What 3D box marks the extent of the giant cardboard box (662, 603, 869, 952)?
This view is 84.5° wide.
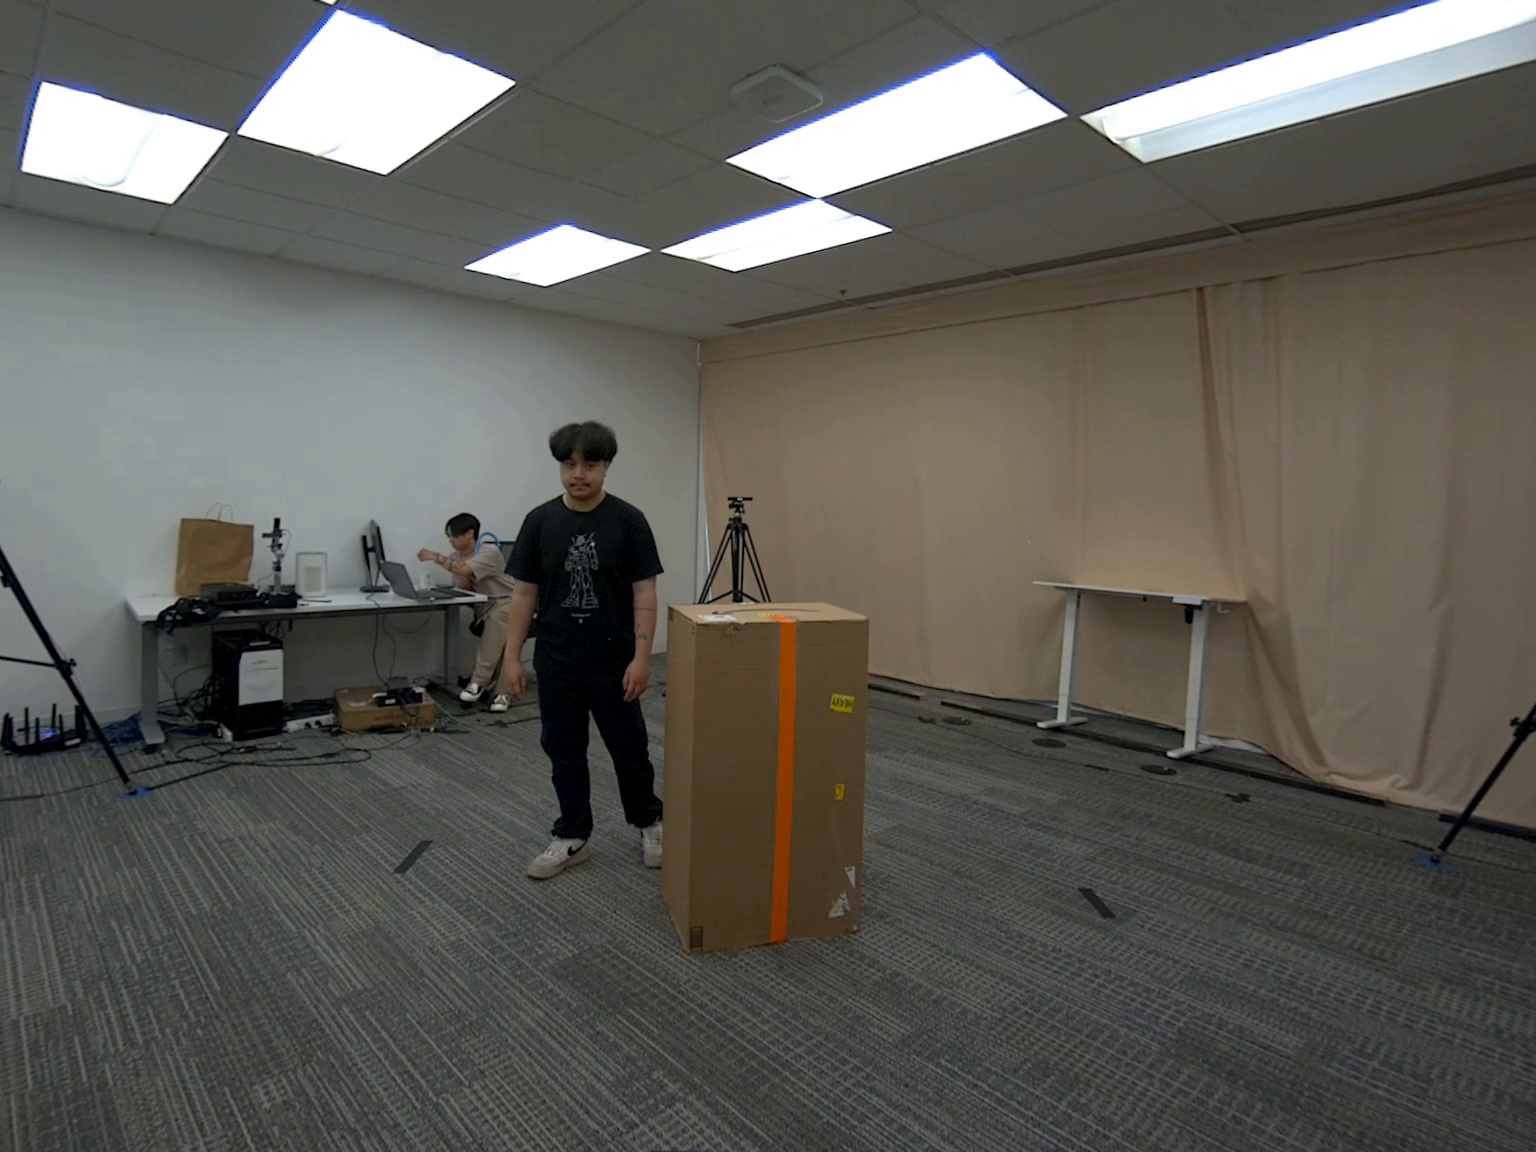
[{"bbox_3d":[-0.029,0.625,2.811,0.576,1.024,0.454,1,4,-17],"label":"giant cardboard box"}]
